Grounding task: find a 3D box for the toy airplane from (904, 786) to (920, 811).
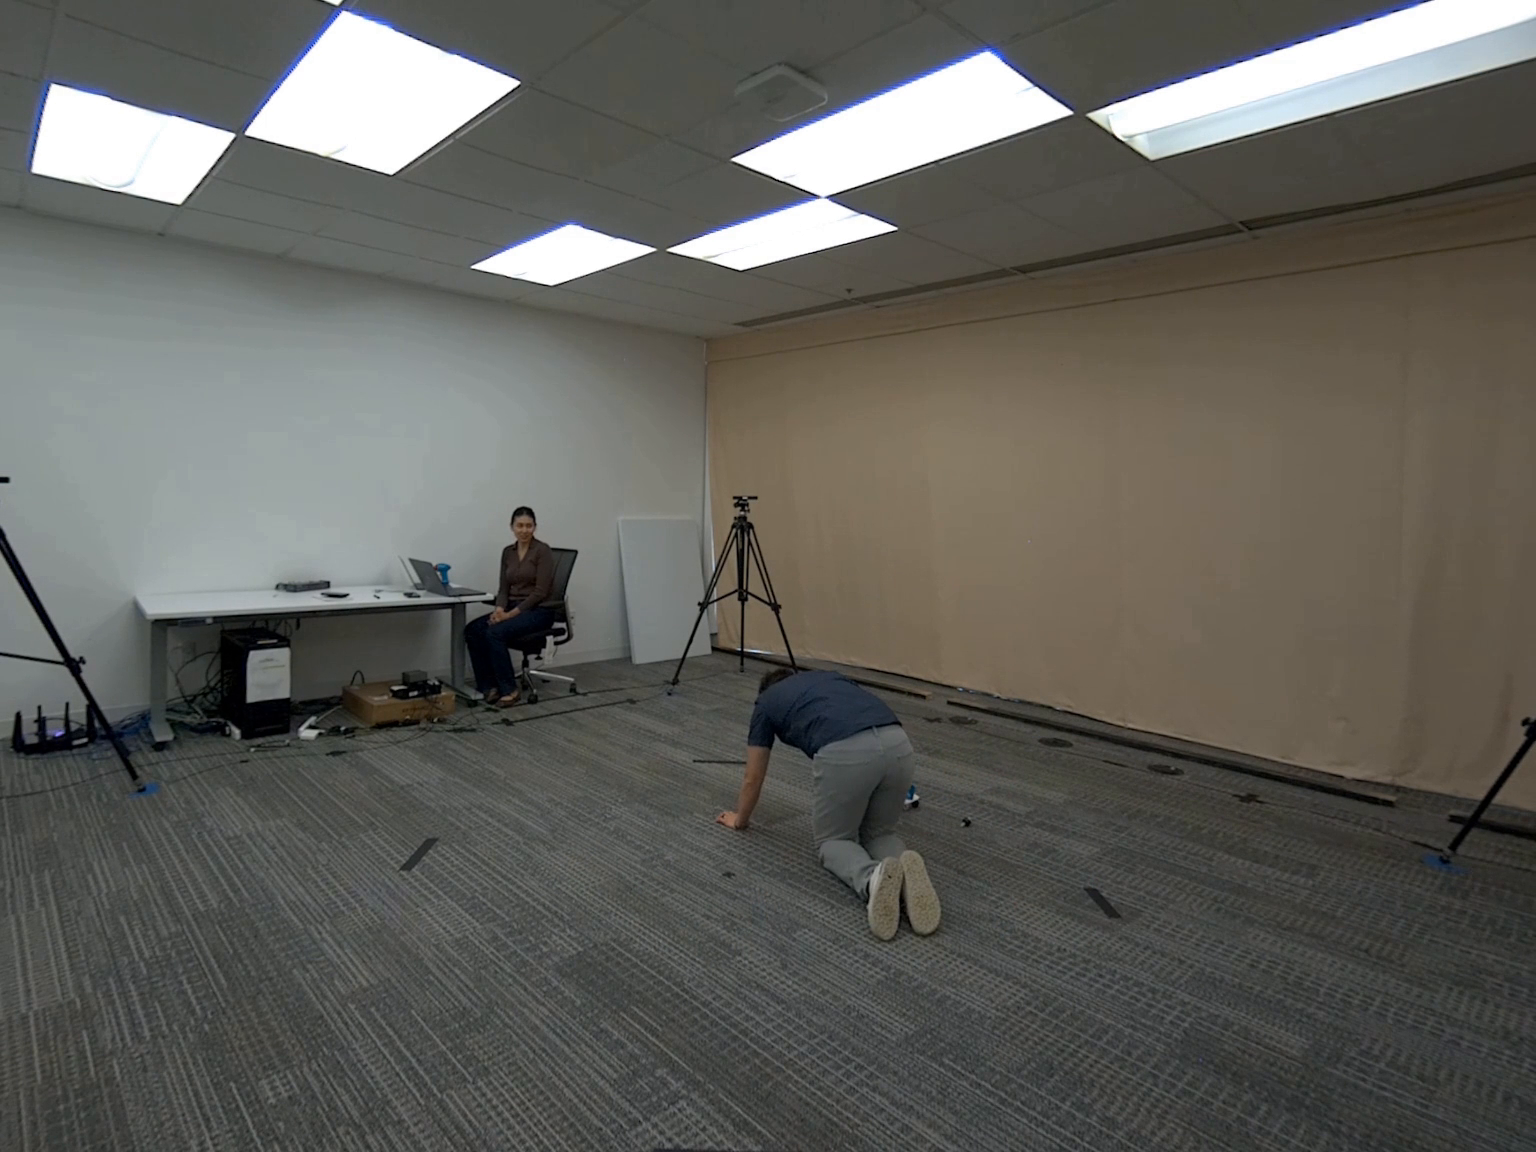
[{"bbox_3d":[0.577,0.986,3.911,0.263,0.155,0.249,1,8,18],"label":"toy airplane"}]
